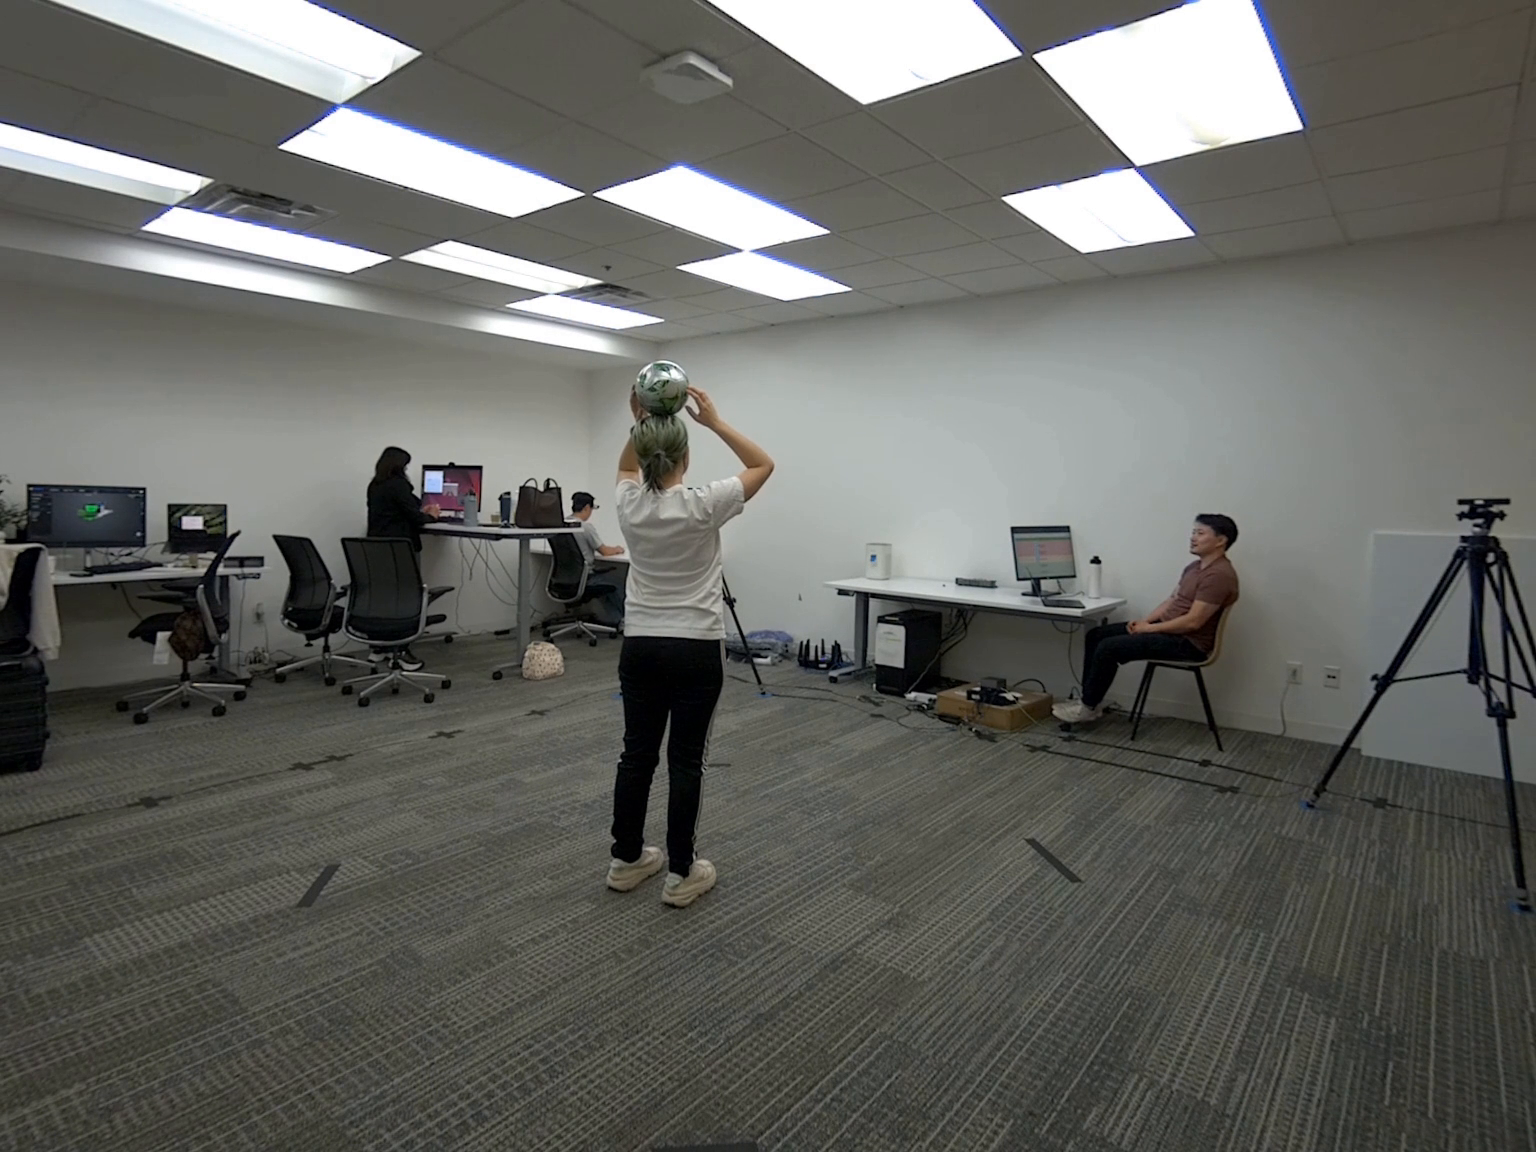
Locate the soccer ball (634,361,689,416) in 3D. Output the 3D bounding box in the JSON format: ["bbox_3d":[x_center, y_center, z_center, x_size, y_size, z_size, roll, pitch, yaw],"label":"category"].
[{"bbox_3d":[-0.373,-0.639,2.893,0.187,0.187,0.188,1,4,-2],"label":"soccer ball"}]
